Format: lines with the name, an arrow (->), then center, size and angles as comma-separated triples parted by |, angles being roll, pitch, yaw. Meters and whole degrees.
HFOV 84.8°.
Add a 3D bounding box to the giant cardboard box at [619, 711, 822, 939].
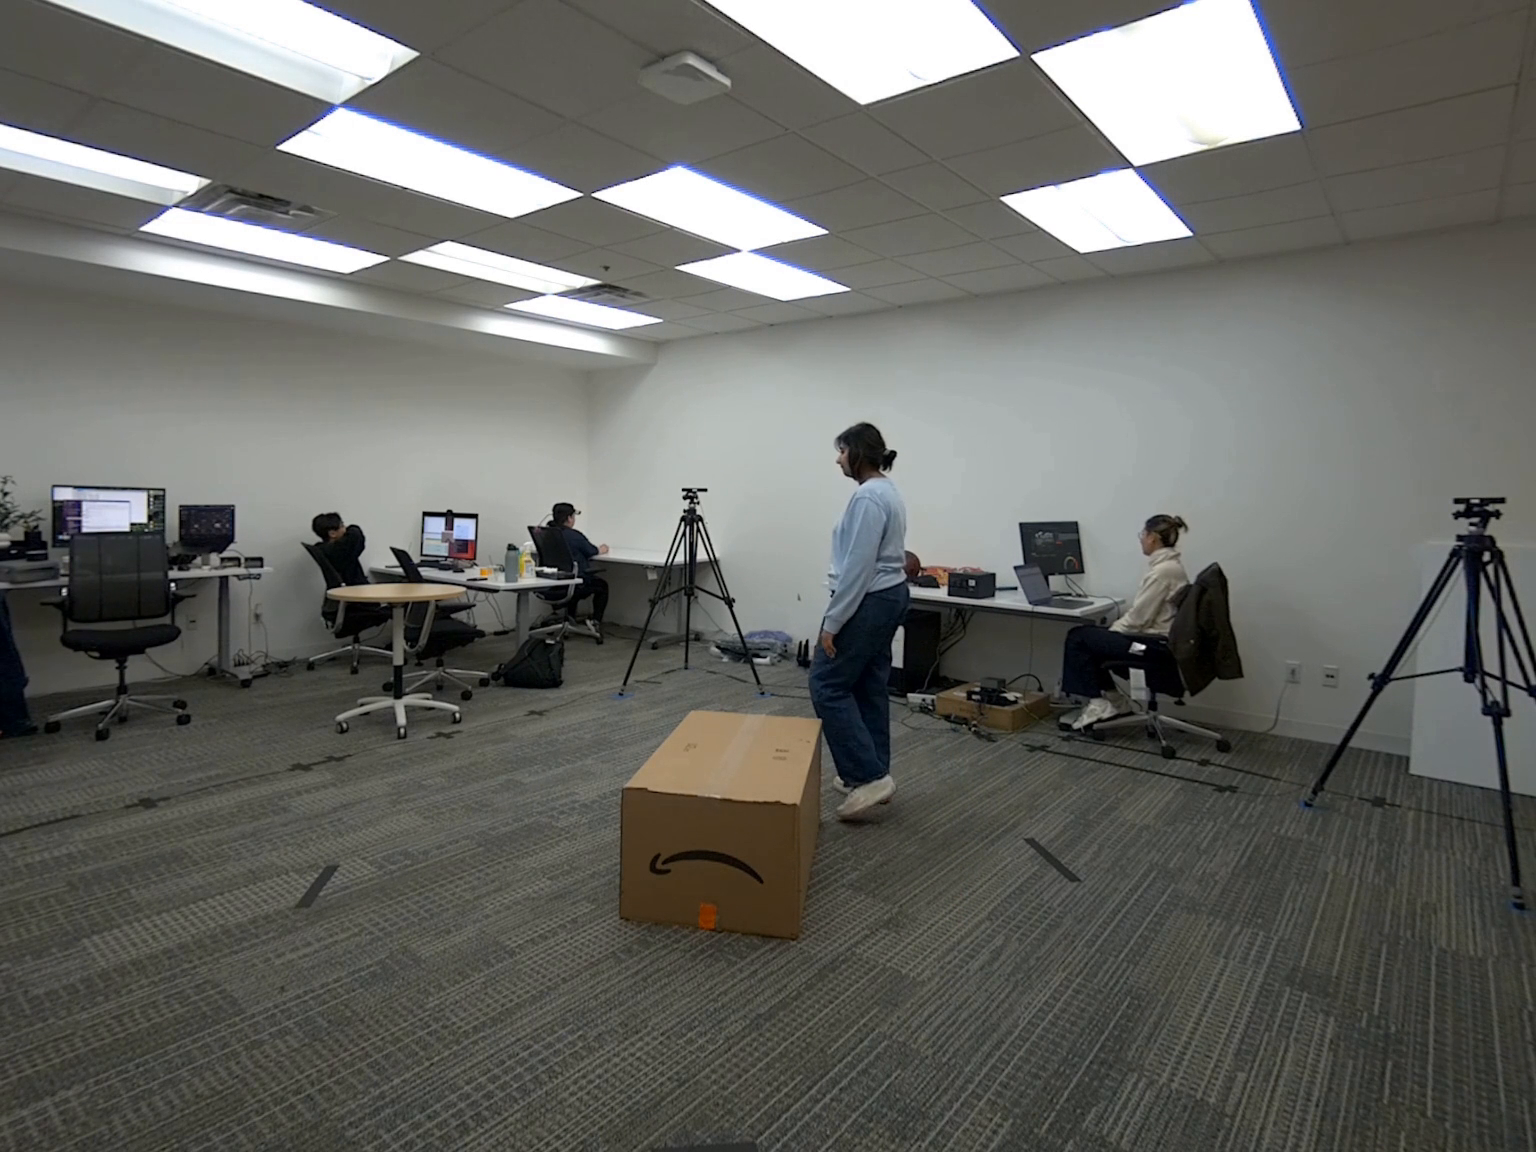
giant cardboard box -> -0.136, 0.849, 3.160 | 0.584, 0.425, 1.018 | 2, 5, 9
